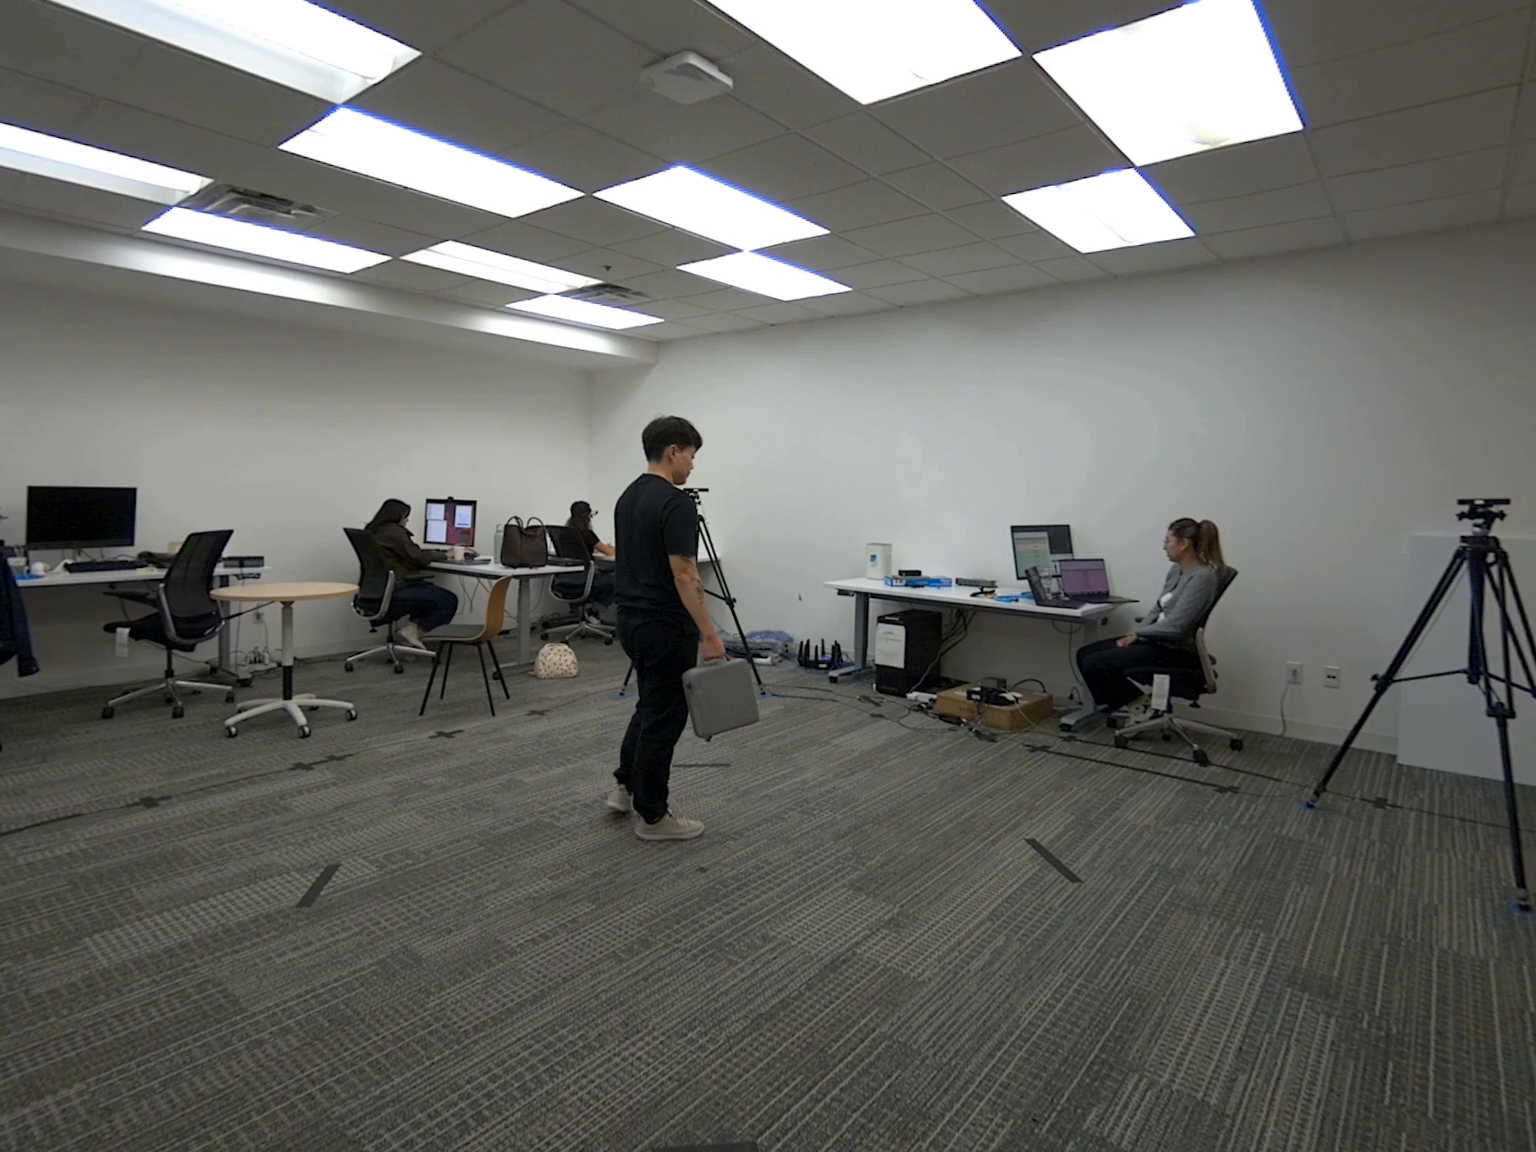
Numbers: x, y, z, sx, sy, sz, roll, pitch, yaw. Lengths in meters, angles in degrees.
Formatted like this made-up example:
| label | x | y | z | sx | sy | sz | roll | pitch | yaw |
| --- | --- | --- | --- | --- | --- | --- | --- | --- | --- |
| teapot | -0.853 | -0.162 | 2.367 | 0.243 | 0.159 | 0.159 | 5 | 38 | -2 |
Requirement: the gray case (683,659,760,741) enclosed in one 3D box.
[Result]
| label | x | y | z | sx | sy | sz | roll | pitch | yaw |
| --- | --- | --- | --- | --- | --- | --- | --- | --- | --- |
| gray case | -0.194 | 0.447 | 3.188 | 0.252 | 0.261 | 0.106 | -11 | -3 | -26 |
